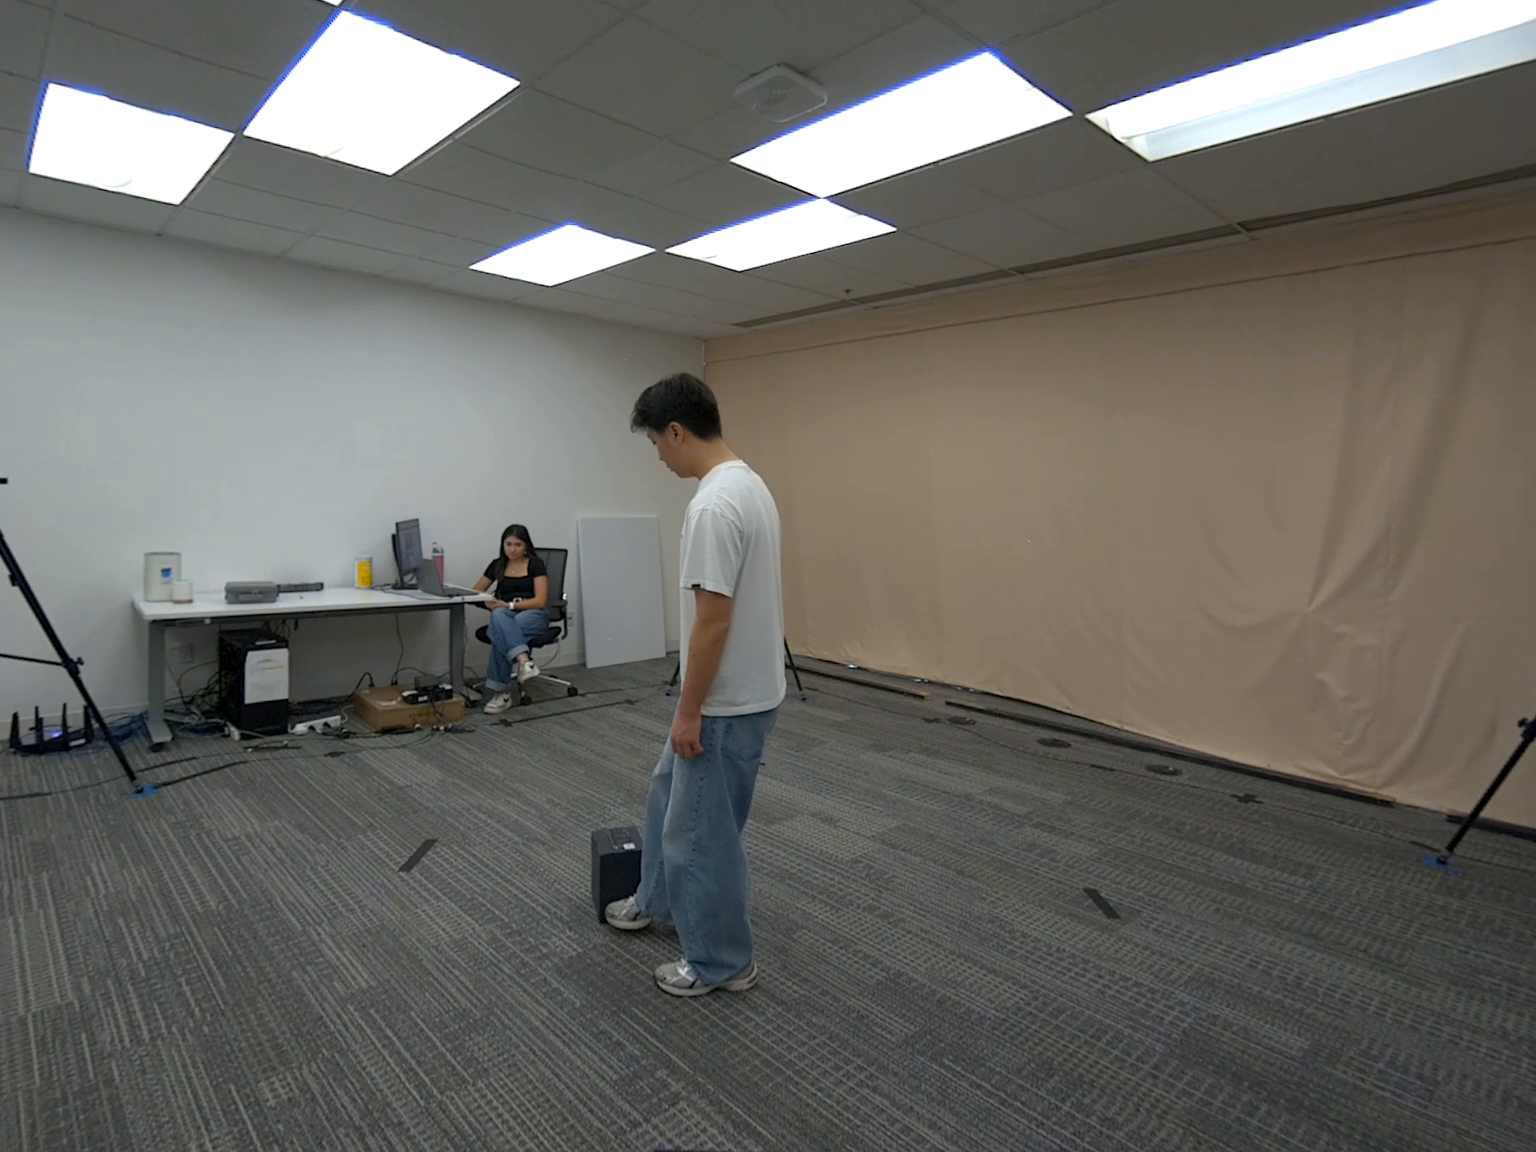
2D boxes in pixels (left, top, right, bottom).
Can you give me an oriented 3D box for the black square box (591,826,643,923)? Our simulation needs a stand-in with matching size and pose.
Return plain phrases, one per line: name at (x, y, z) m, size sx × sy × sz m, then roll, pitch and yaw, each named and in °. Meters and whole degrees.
black square box at (-0.513, 1.000, 2.849) m, size 0.154 × 0.227 × 0.220 m, roll 0°, pitch 4°, yaw -19°
